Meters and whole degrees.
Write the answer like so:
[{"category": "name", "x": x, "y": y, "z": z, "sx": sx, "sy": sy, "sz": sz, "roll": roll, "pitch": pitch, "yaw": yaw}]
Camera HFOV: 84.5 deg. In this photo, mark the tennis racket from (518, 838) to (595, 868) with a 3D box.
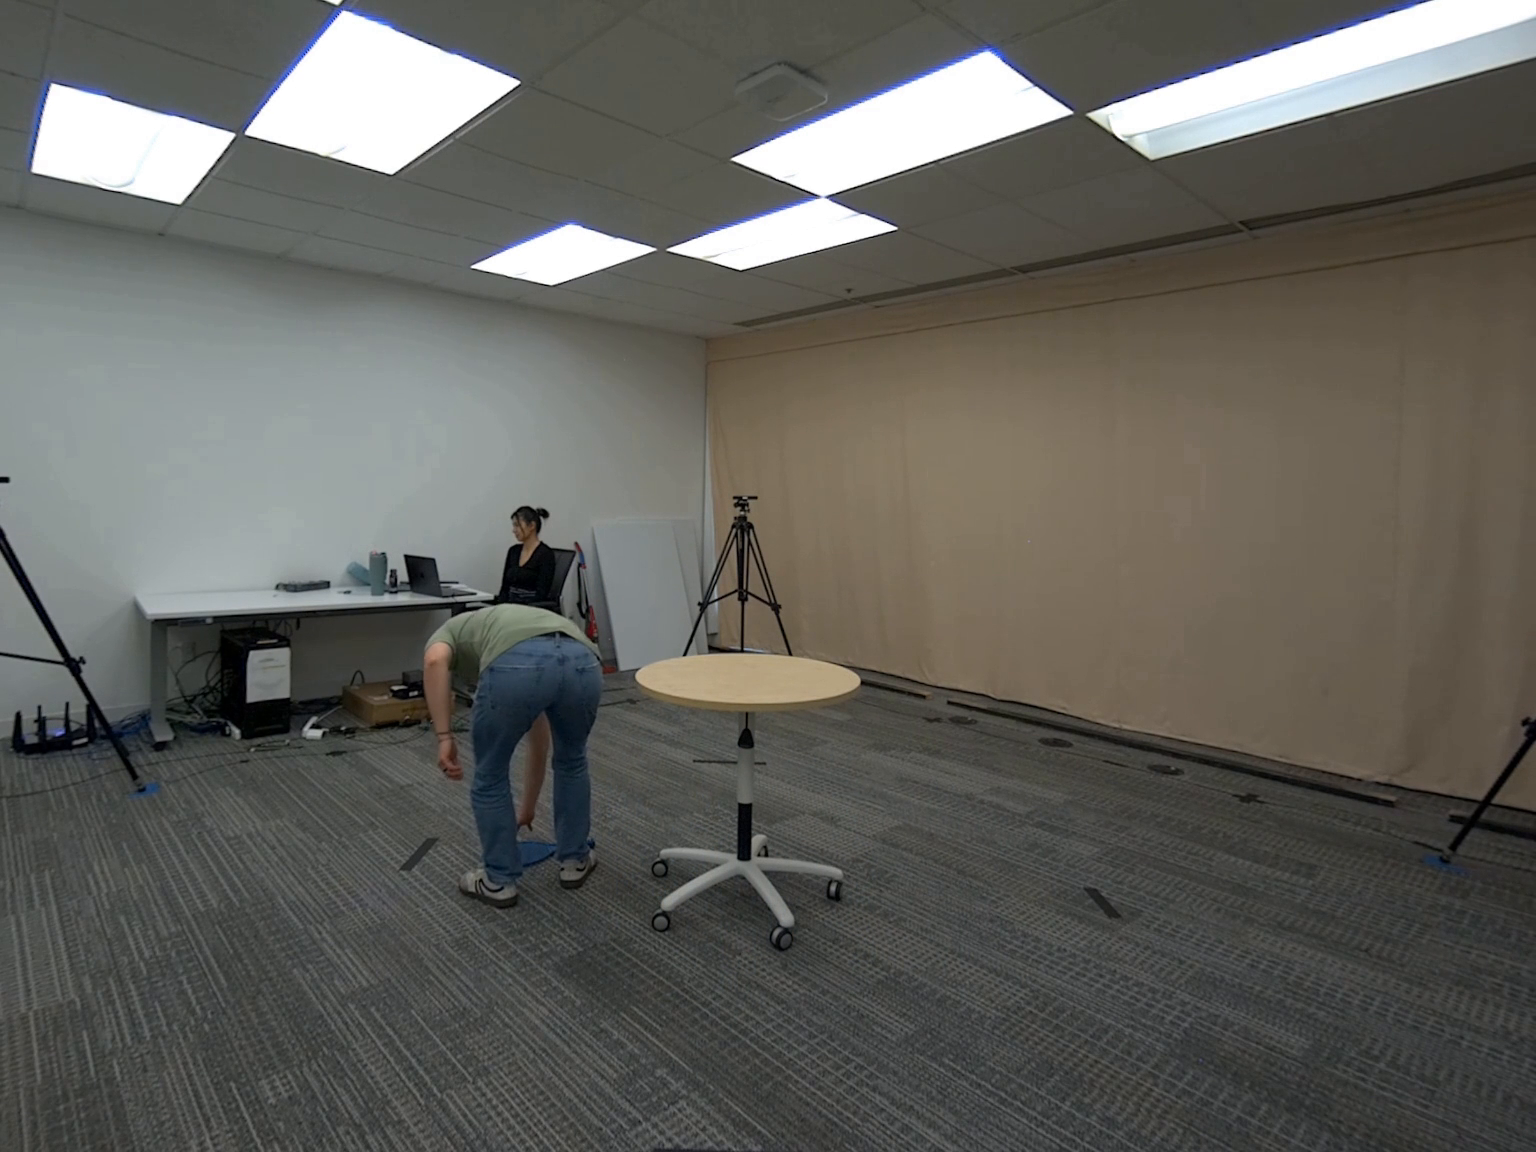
[{"category": "tennis racket", "x": -0.889, "y": 1.058, "z": 3.244, "sx": 0.426, "sy": 0.031, "sz": 0.218, "roll": -3, "pitch": 7, "yaw": -23}]
